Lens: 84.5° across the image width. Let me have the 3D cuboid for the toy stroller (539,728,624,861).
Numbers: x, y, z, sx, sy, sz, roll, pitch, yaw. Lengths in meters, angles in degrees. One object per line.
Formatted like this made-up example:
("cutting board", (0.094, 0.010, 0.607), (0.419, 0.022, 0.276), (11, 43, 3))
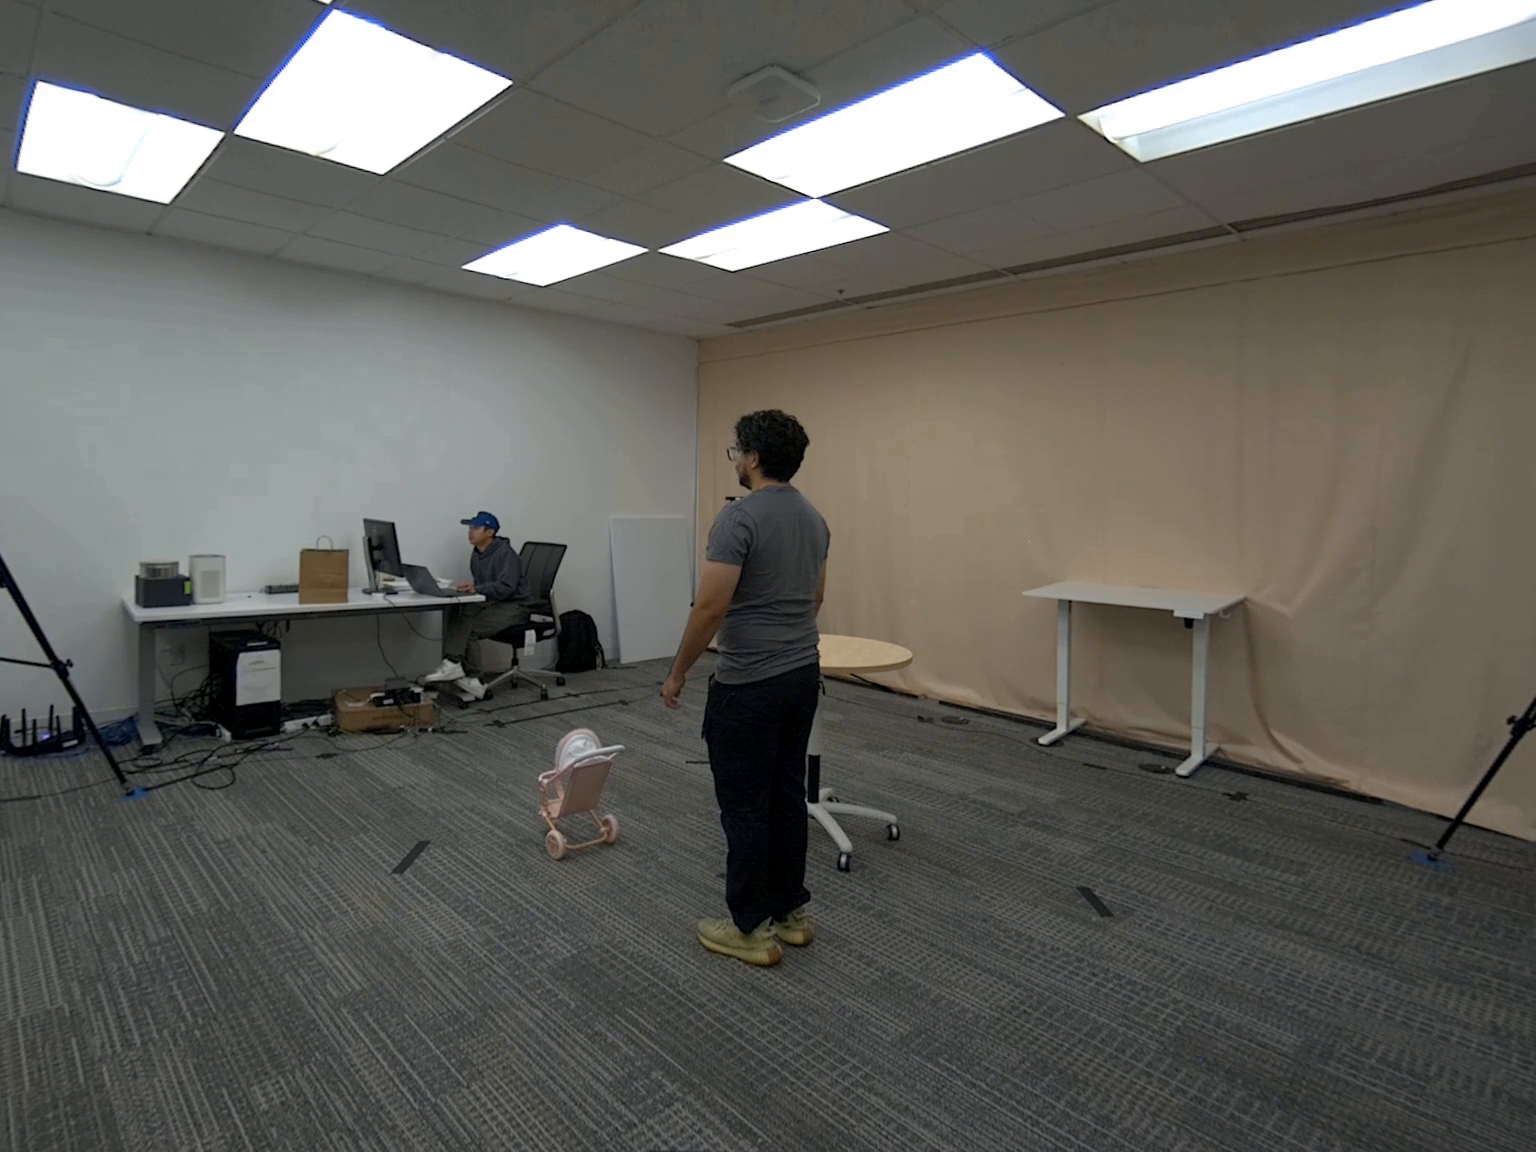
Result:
("toy stroller", (-0.769, 0.844, 3.337), (0.275, 0.530, 0.352), (-1, 19, -39))
